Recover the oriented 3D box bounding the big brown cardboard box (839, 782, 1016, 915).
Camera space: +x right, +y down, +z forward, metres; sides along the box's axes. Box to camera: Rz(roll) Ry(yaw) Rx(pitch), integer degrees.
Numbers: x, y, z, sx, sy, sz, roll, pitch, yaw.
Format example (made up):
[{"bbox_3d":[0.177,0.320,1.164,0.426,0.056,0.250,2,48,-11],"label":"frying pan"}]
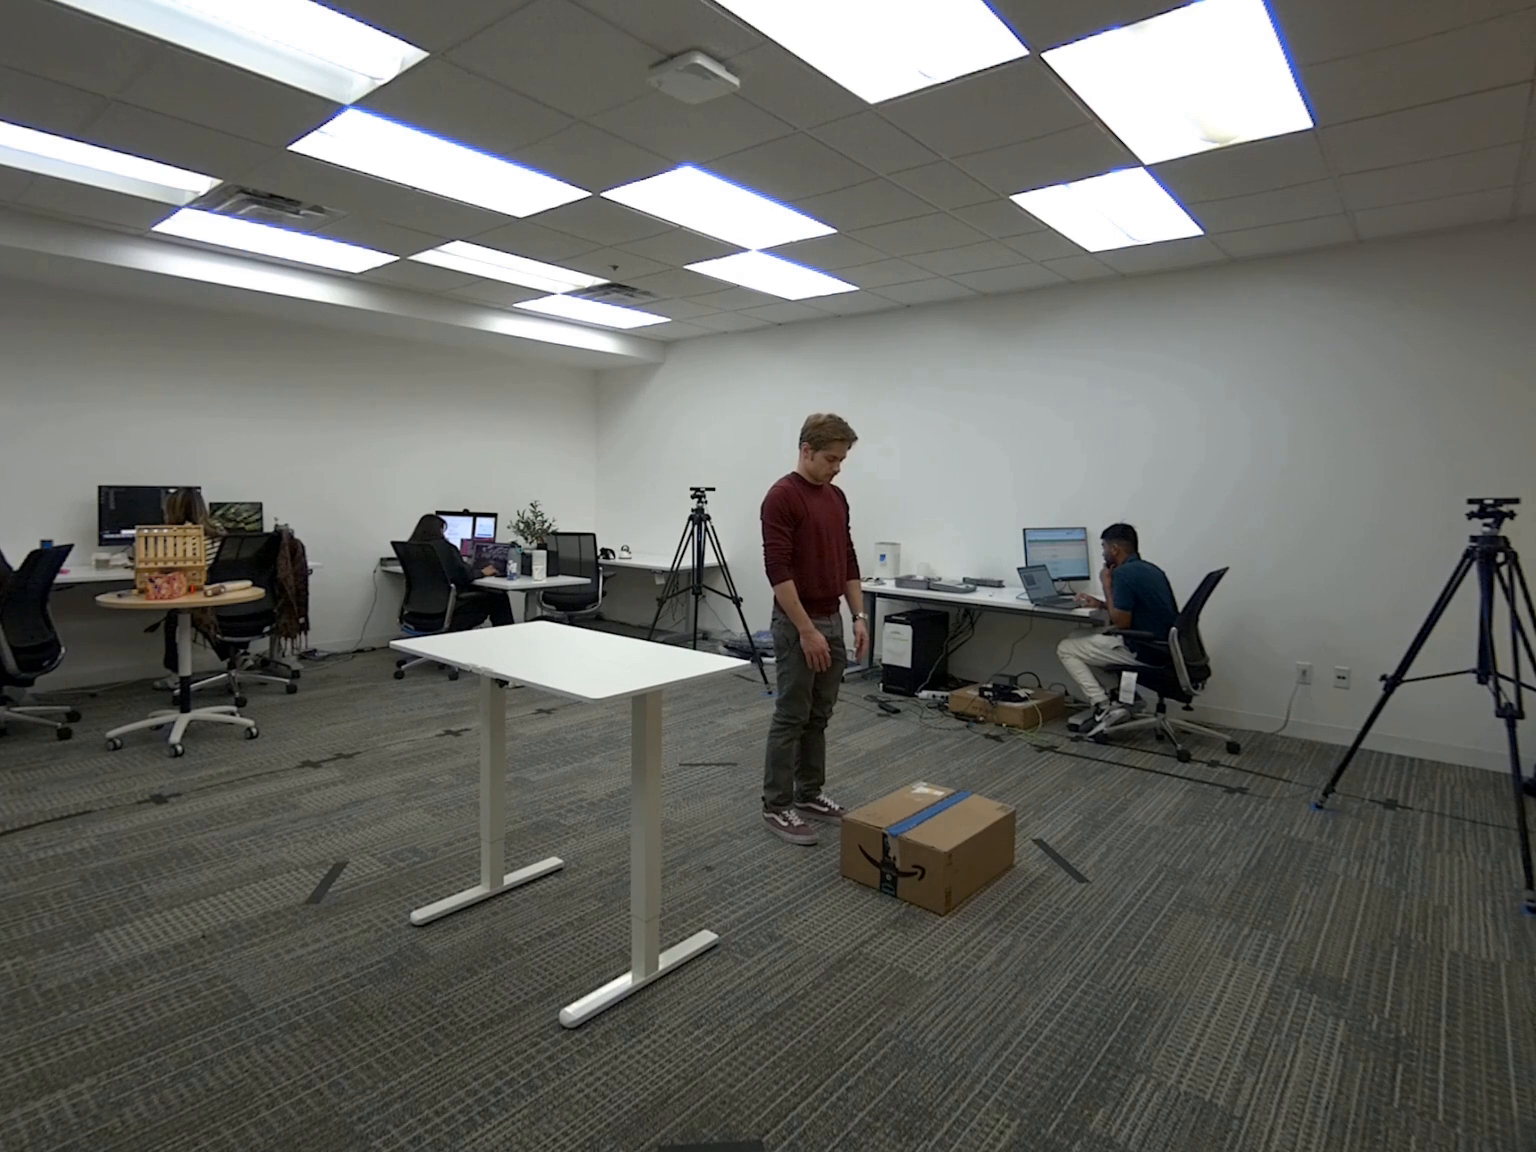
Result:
[{"bbox_3d":[0.596,0.973,3.140,0.432,0.232,0.572,6,7,40],"label":"big brown cardboard box"}]
